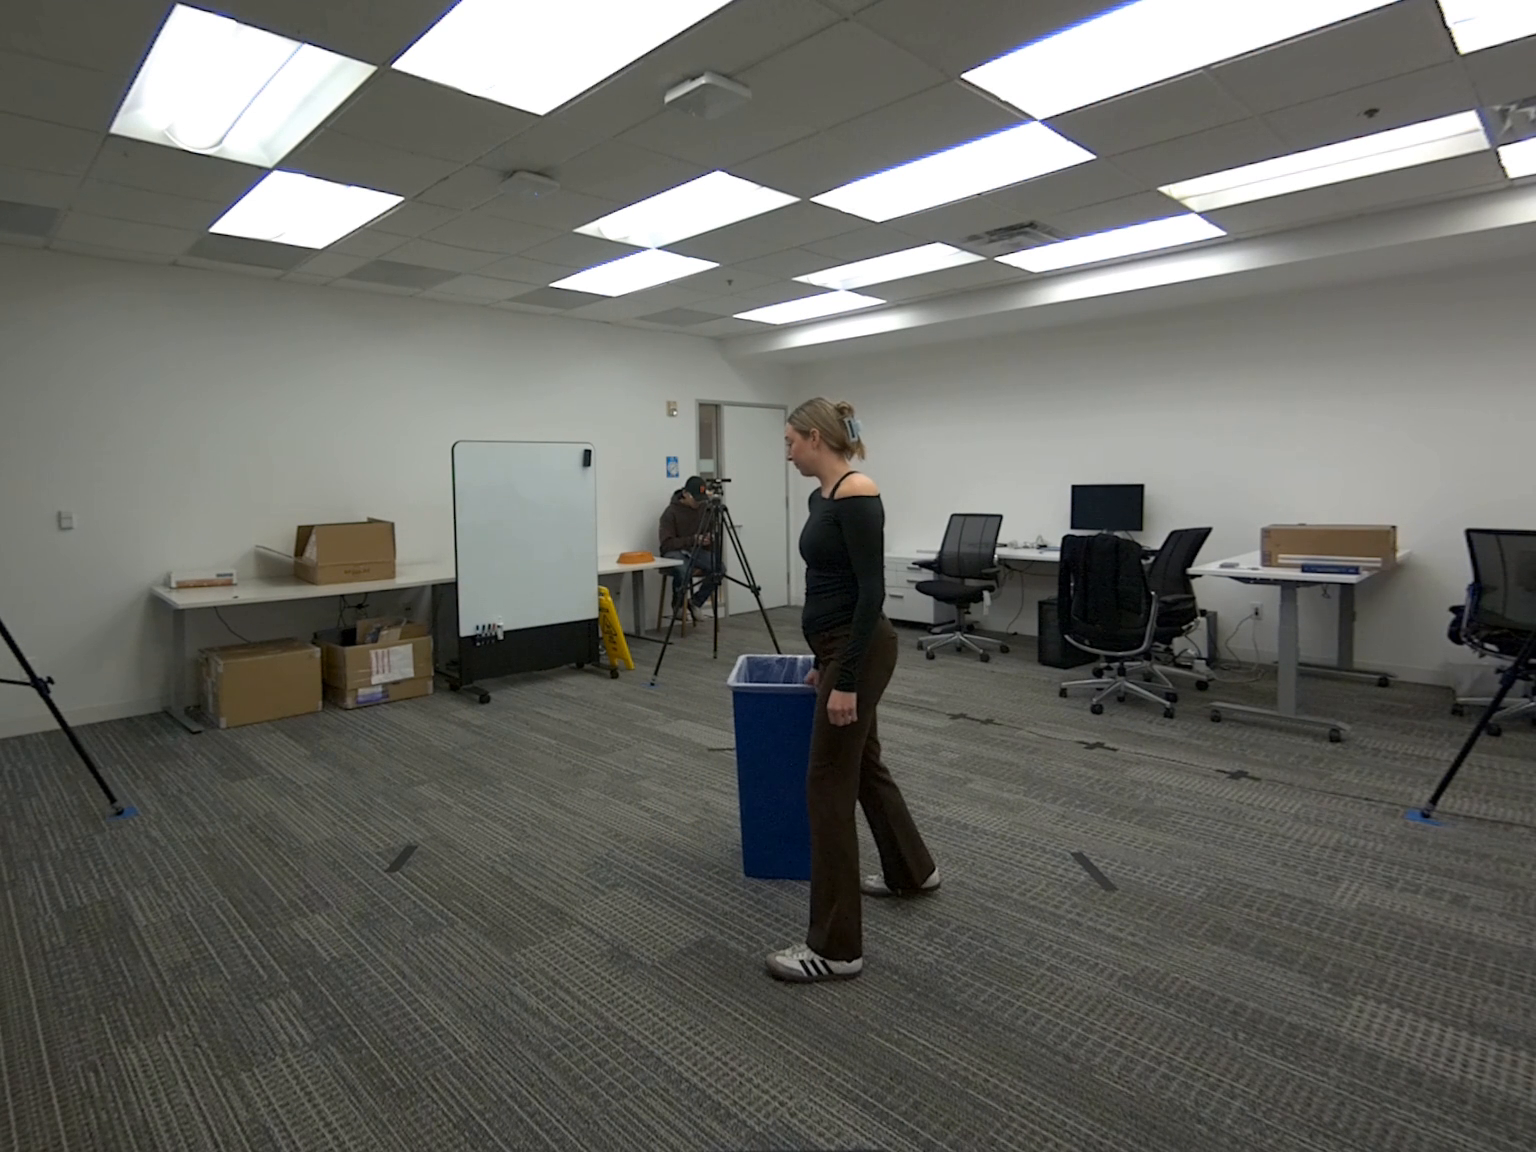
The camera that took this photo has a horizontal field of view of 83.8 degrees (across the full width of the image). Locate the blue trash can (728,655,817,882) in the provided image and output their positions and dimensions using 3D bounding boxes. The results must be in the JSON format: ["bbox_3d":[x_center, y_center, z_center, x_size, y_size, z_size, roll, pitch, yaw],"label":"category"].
[{"bbox_3d":[0.068,0.680,3.059,0.381,0.709,0.373,-1,7,8],"label":"blue trash can"}]
